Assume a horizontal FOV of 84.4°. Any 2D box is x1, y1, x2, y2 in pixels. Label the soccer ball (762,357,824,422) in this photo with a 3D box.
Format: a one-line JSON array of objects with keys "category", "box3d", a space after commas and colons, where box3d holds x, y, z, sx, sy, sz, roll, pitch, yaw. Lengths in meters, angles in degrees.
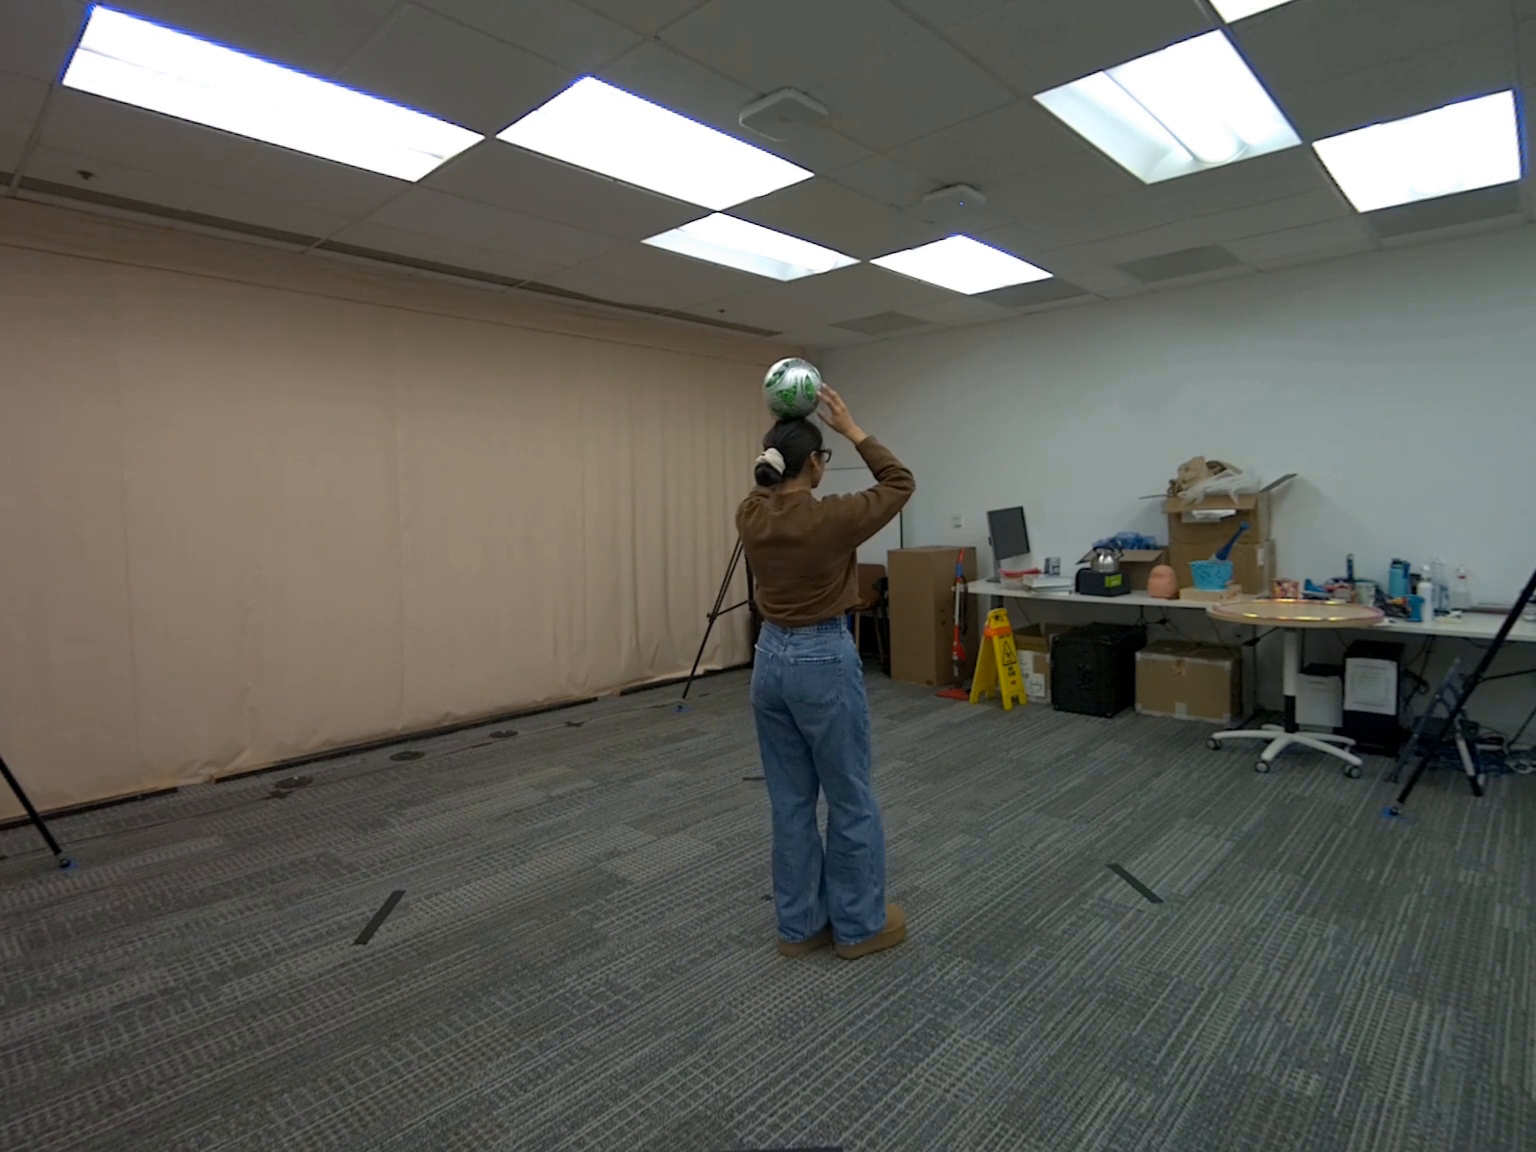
[{"category": "soccer ball", "box3d": [0.081, -0.569, 2.567, 0.187, 0.187, 0.188, -1, 4, -2]}]
